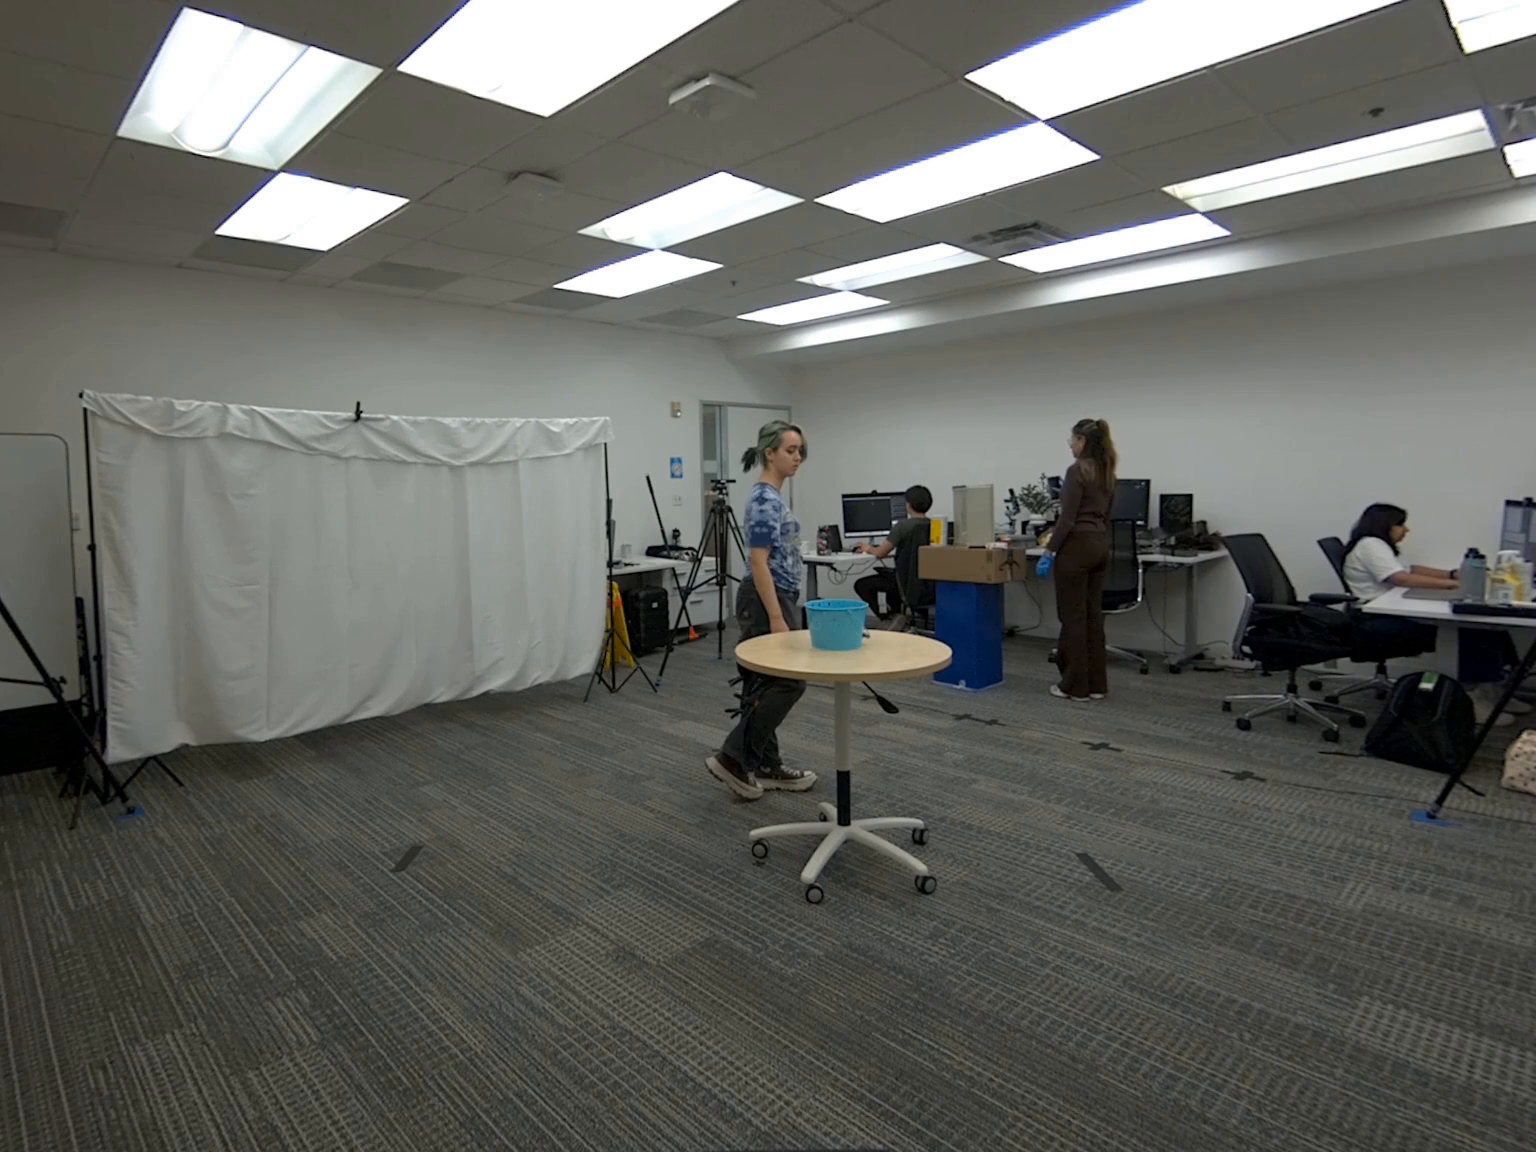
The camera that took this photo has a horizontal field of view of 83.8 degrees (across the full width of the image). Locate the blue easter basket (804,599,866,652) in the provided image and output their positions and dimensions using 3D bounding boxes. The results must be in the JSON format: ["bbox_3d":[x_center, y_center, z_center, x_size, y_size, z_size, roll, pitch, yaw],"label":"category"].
[{"bbox_3d":[0.263,0.181,3.117,0.243,0.155,0.245,-1,6,-2],"label":"blue easter basket"}]
